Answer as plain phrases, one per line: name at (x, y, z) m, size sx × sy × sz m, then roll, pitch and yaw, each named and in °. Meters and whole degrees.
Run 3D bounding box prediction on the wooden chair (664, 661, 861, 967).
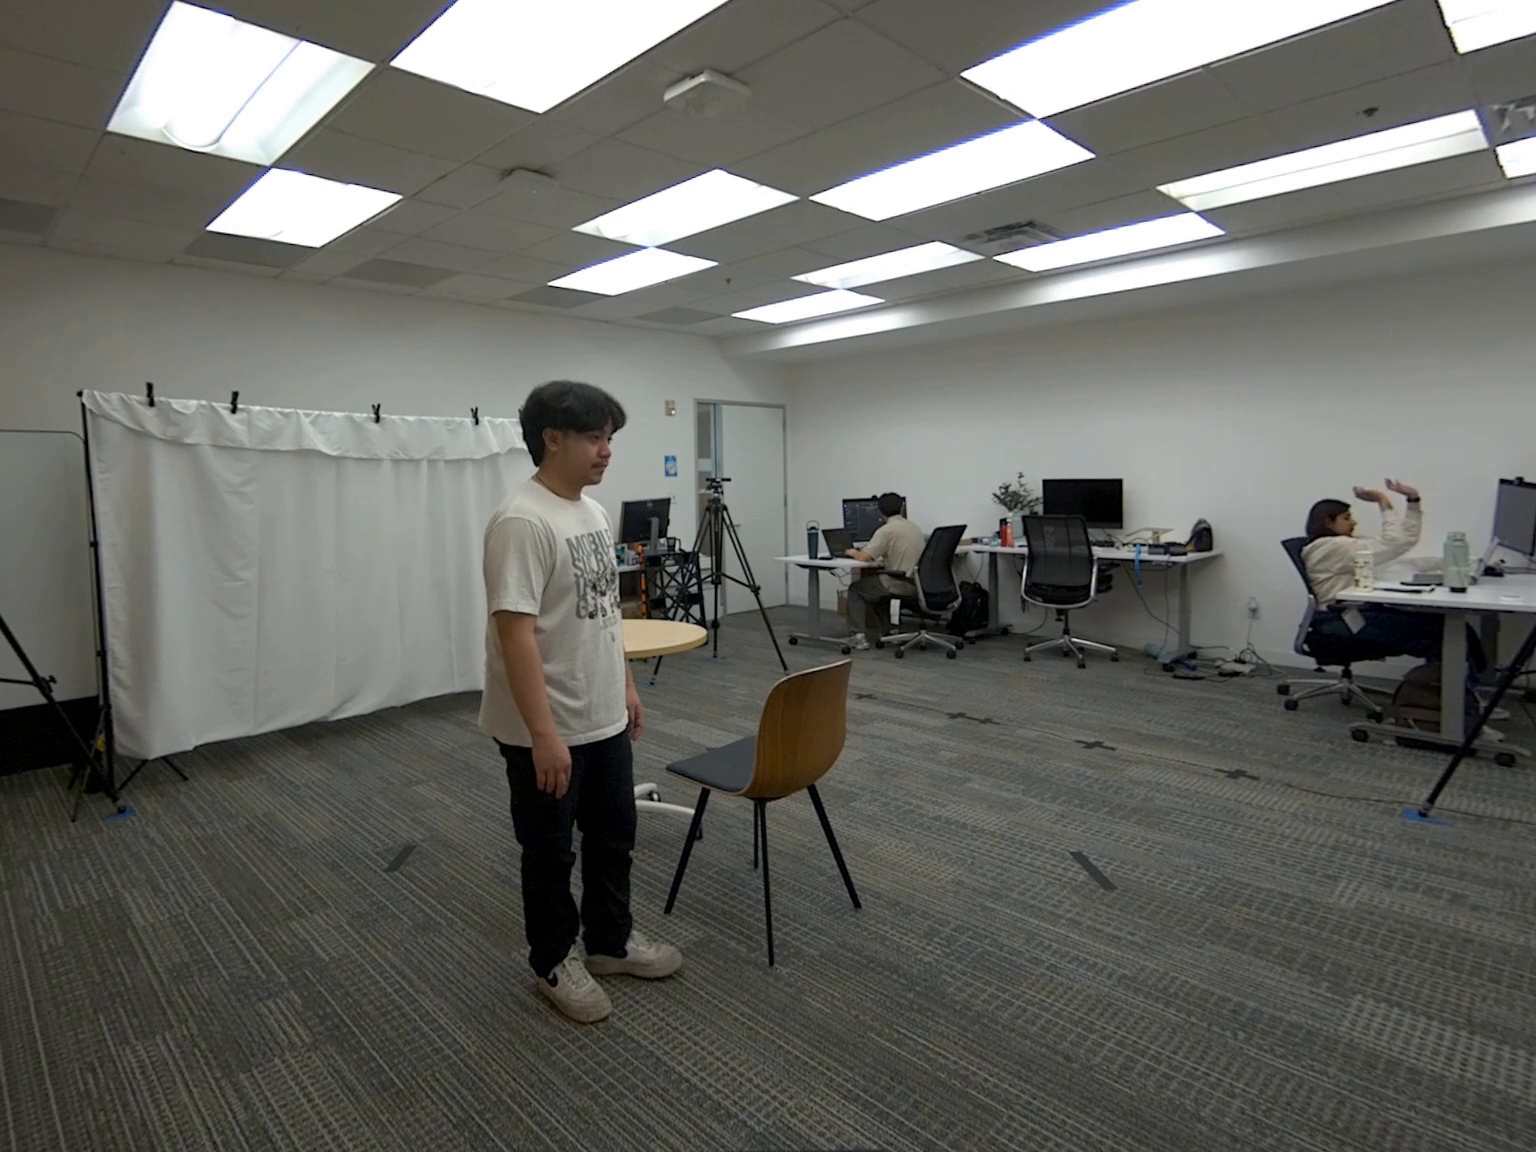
wooden chair at (-0.026, 0.657, 2.732) m, size 0.540 × 0.871 × 0.466 m, roll 9°, pitch 10°, yaw 42°
